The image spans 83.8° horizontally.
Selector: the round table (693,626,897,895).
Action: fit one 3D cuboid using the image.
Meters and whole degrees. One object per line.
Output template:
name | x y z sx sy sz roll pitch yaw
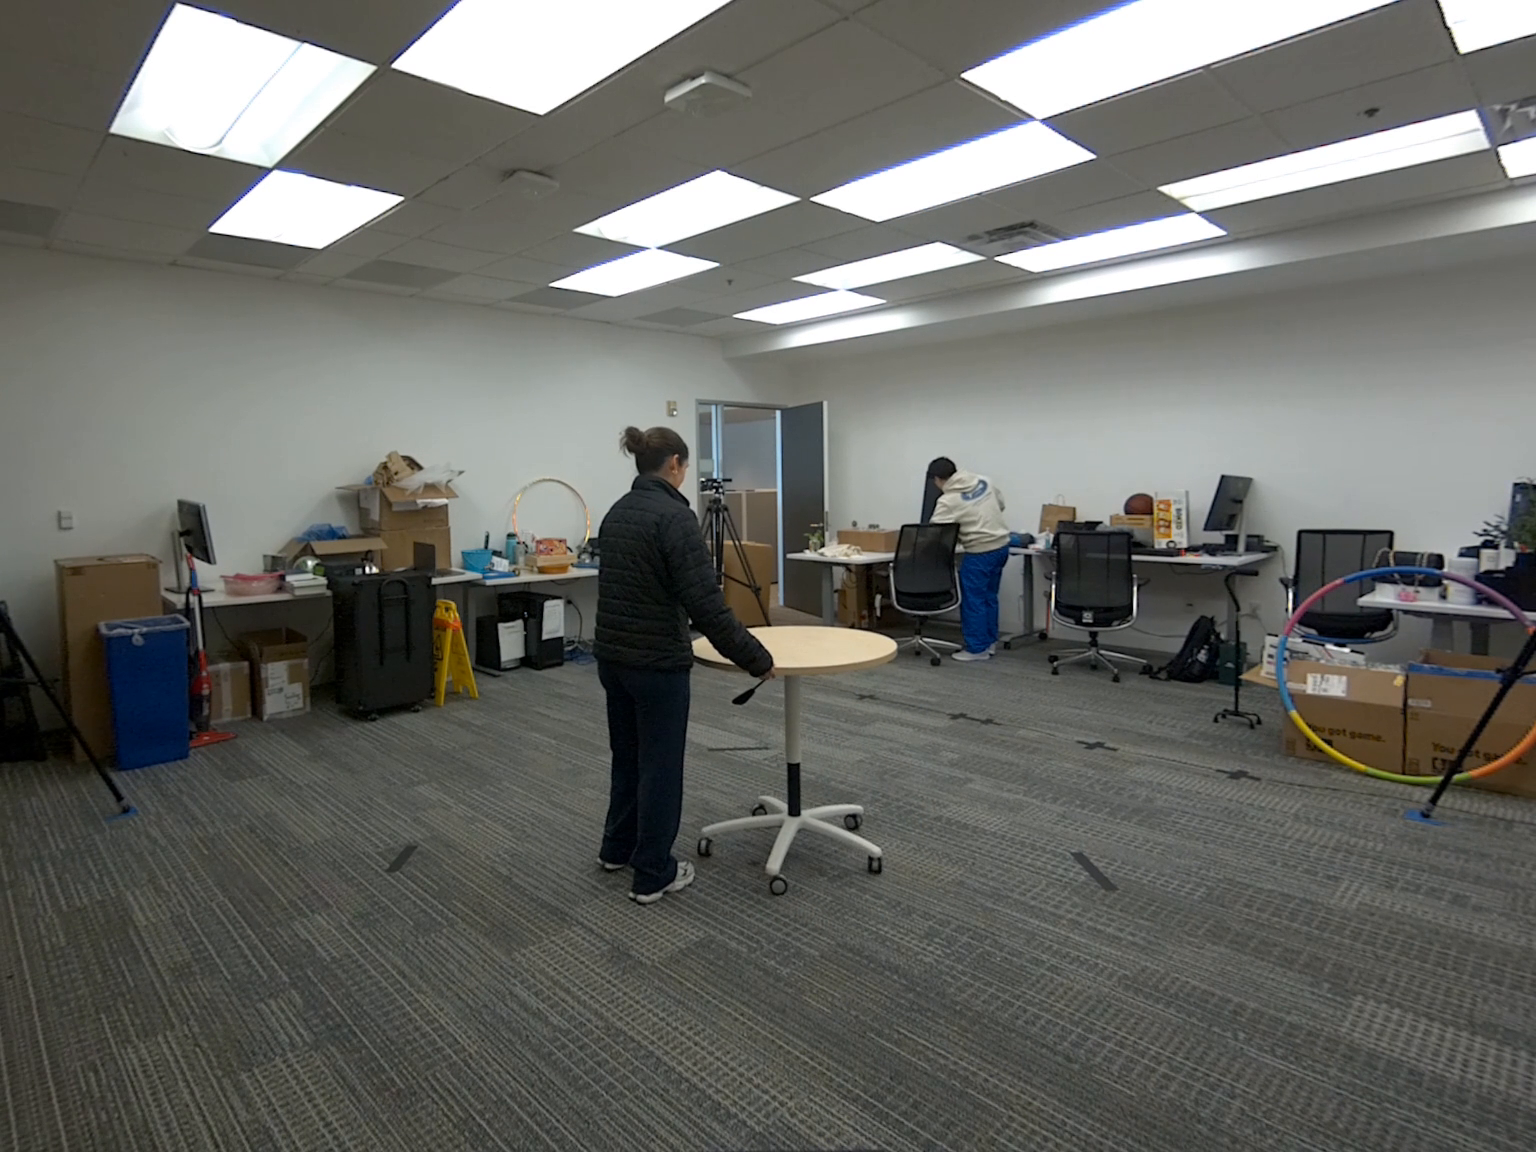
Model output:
round table | 0.080 0.638 3.191 0.784 0.783 0.789 -1 5 -2
